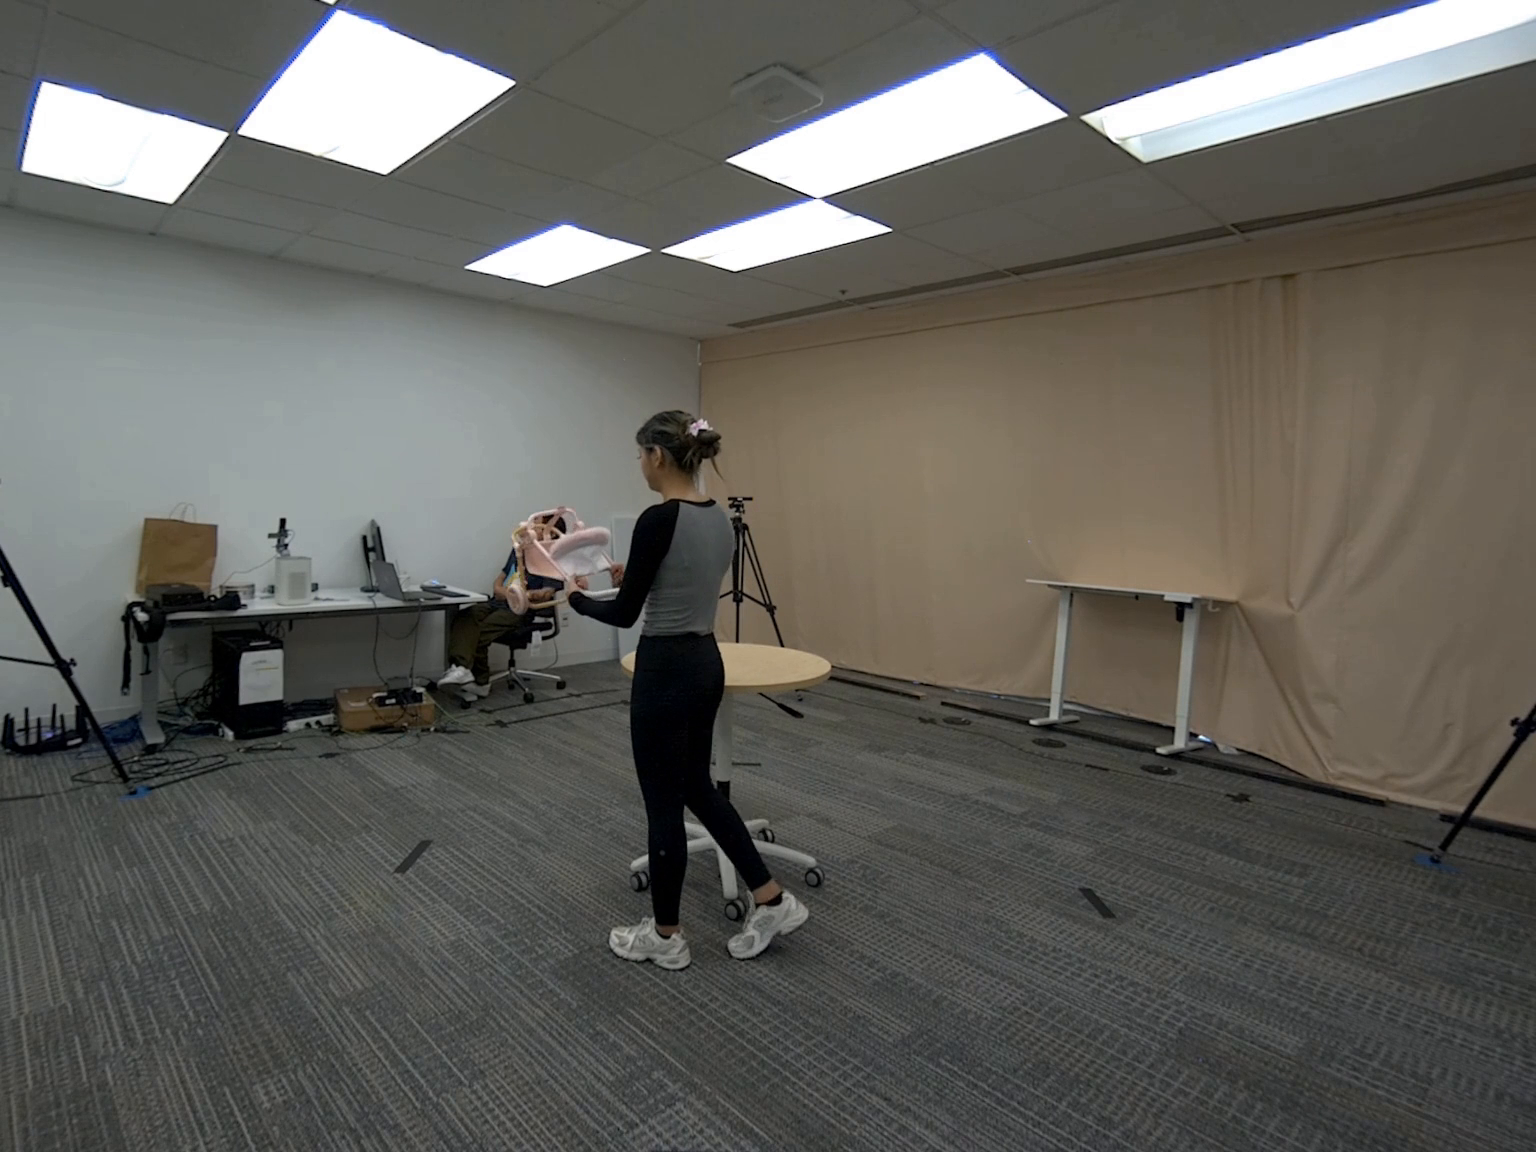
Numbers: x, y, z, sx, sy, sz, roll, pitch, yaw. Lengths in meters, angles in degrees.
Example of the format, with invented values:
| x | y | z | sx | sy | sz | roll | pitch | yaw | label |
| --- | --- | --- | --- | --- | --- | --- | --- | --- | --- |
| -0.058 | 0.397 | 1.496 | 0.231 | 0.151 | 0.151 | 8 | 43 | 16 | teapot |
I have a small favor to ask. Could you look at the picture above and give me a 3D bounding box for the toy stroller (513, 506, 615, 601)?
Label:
| x | y | z | sx | sy | sz | roll | pitch | yaw | label |
| --- | --- | --- | --- | --- | --- | --- | --- | --- | --- |
| -0.705 | -0.068 | 2.858 | 0.276 | 0.342 | 0.544 | -7 | -3 | -40 | toy stroller |
